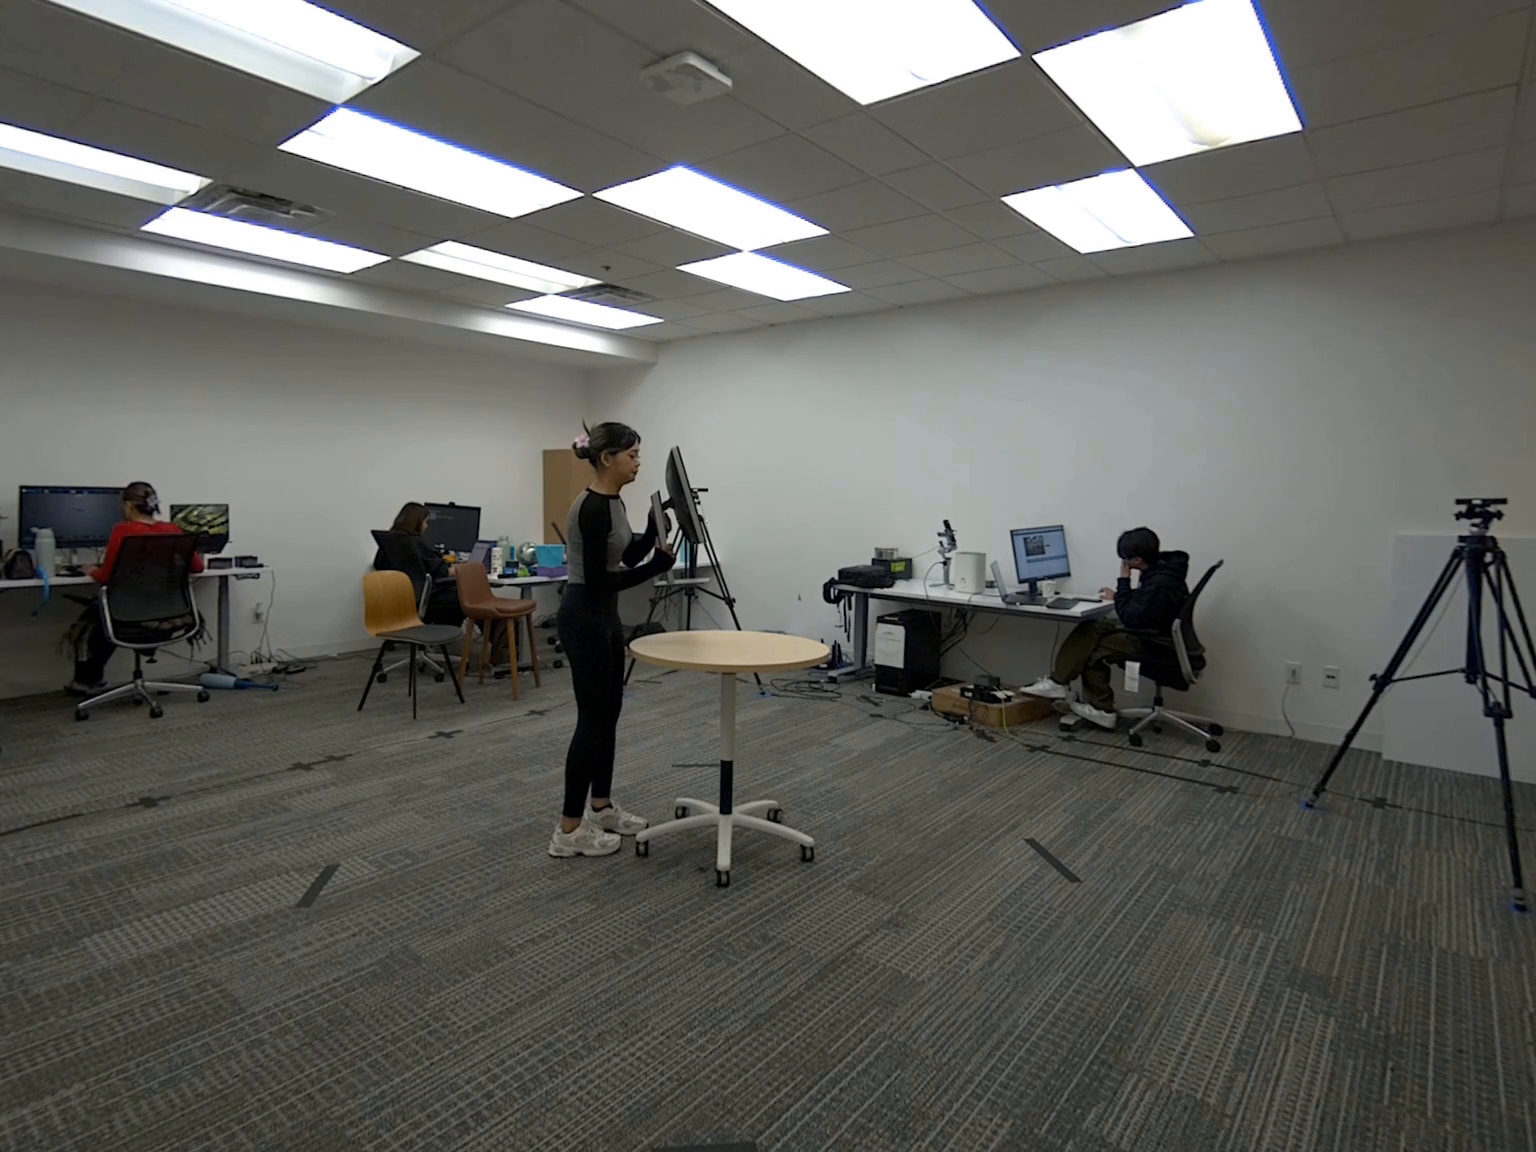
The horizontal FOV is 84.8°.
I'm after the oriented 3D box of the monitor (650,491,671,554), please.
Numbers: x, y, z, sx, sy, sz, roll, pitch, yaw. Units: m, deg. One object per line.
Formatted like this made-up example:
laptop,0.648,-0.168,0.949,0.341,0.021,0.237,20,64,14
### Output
monitor,-0.362,-0.208,3.300,0.185,0.523,0.544,-4,1,-10
